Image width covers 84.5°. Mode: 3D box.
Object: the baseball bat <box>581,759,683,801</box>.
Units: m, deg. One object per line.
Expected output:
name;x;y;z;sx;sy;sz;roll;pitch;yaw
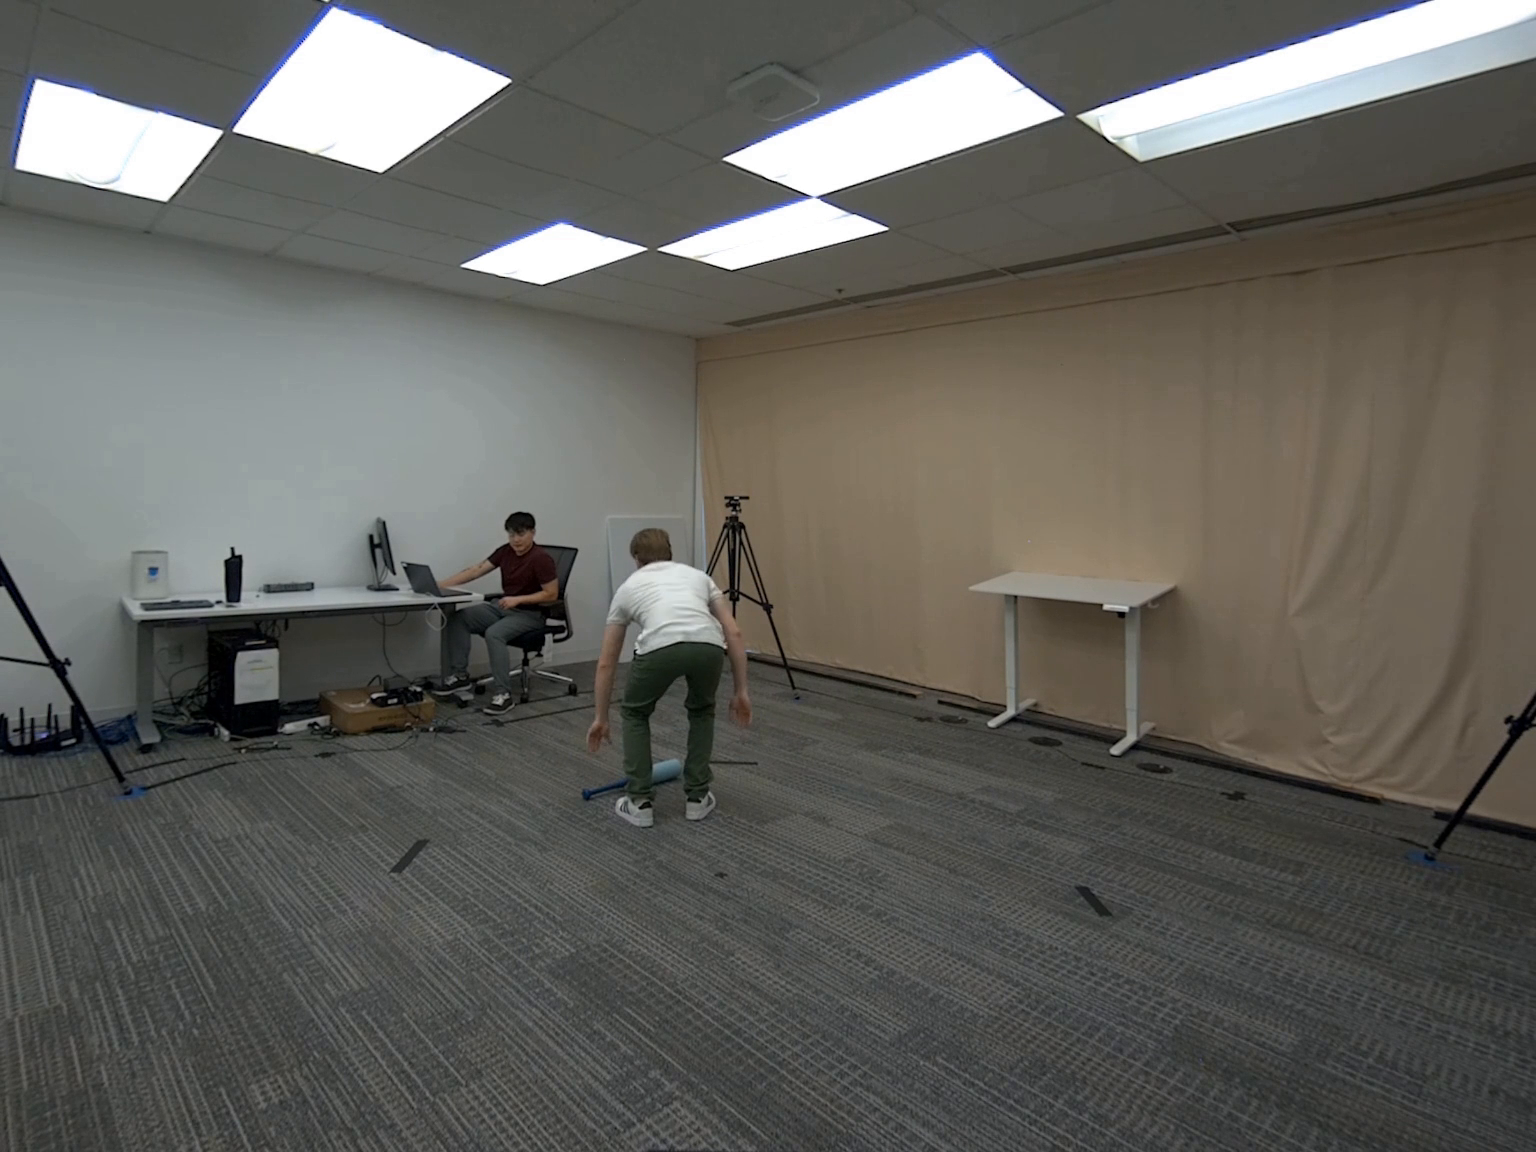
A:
baseball bat;-0.653;0.978;4.020;0.531;0.089;0.091;-6;8;-41
